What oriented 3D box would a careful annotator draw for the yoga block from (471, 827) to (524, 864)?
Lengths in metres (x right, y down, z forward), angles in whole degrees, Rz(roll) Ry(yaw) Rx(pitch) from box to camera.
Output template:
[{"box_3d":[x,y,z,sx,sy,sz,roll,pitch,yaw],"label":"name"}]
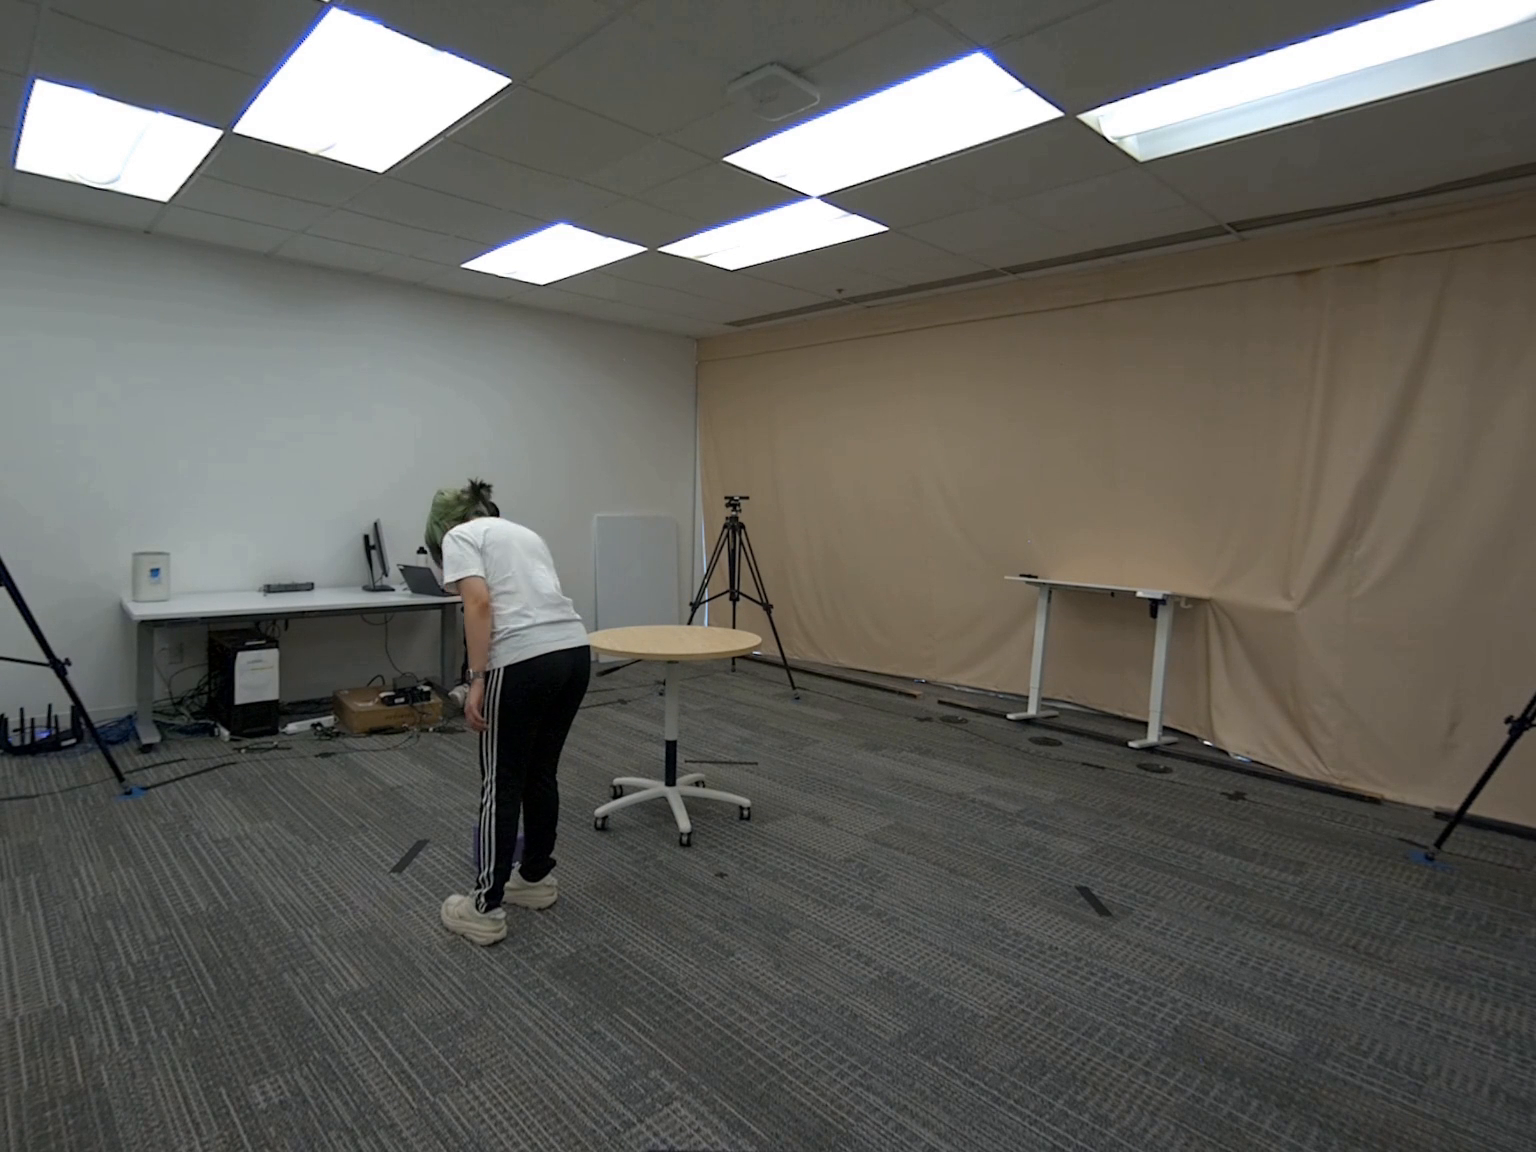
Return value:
[{"box_3d":[-1.002,1.011,3.108,0.235,0.149,0.075,3,2,38],"label":"yoga block"}]
